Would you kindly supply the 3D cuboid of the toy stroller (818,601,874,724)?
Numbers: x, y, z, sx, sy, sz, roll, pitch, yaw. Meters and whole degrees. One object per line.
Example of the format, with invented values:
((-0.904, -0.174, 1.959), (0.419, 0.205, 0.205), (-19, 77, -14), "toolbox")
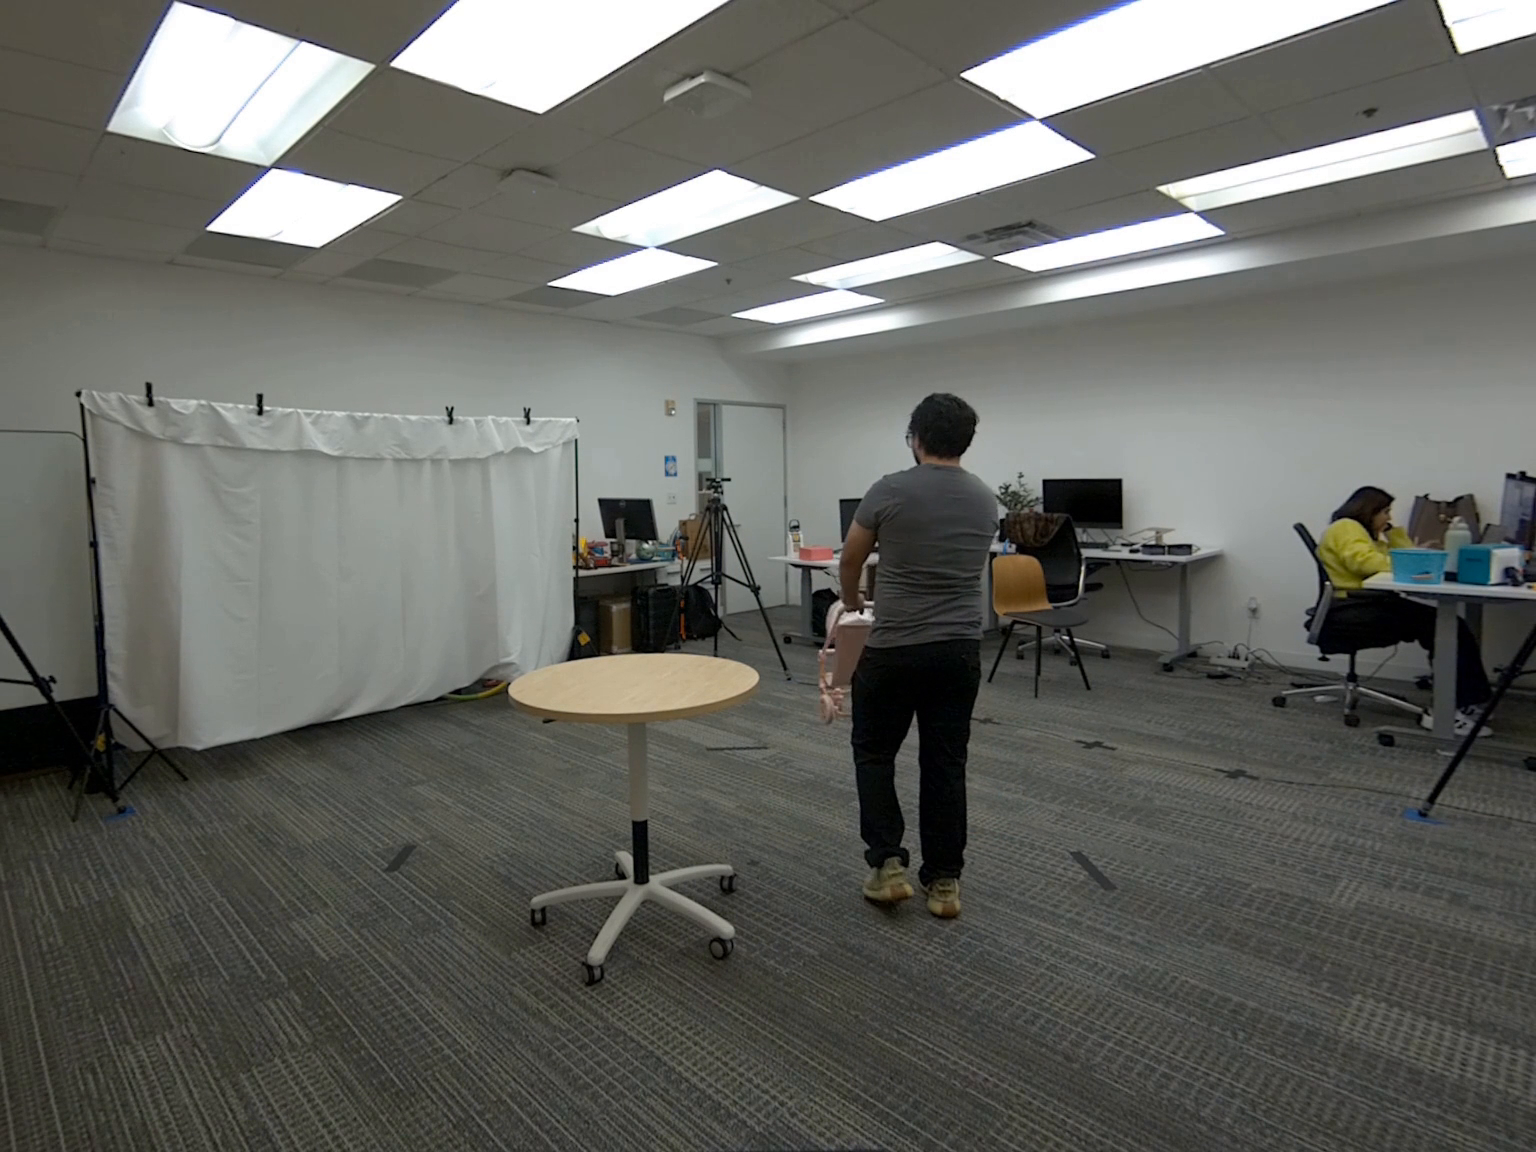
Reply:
((0.323, 0.327, 3.315), (0.279, 0.530, 0.347), (-1, 11, -9), "toy stroller")
